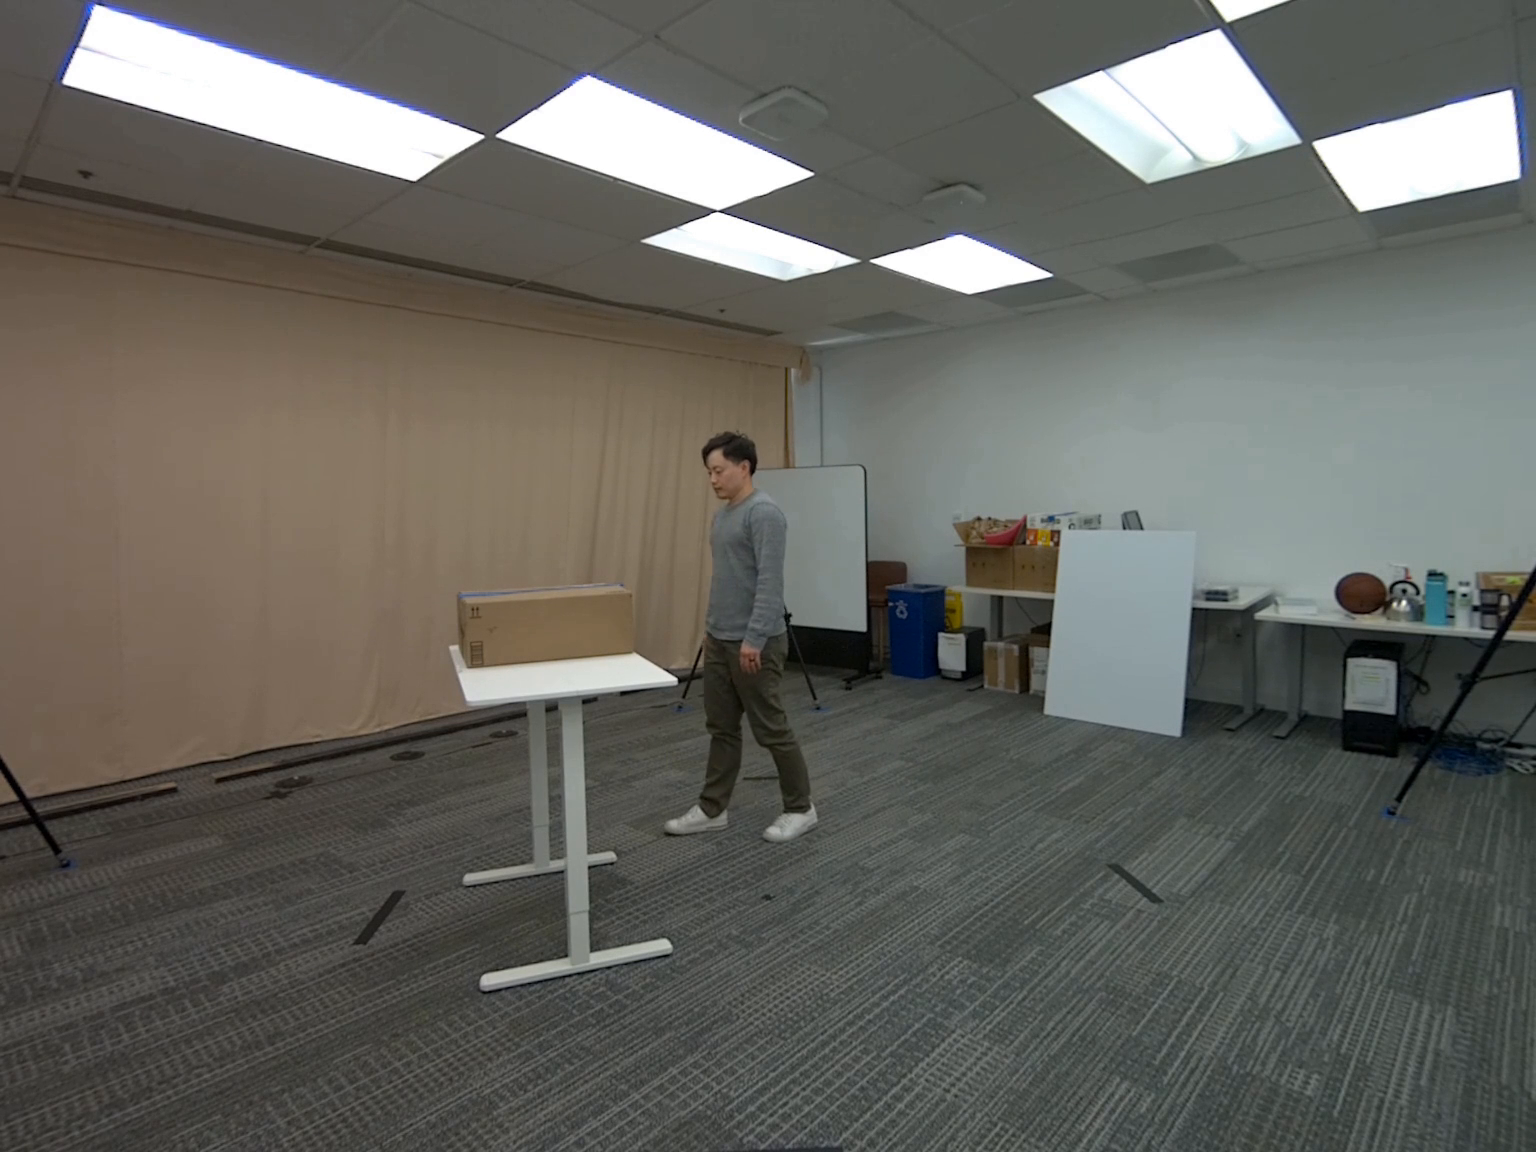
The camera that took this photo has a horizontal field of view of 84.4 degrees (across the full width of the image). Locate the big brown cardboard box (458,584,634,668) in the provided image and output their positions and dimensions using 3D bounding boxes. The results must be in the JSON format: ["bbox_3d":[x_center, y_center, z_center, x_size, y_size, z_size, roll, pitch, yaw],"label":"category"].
[{"bbox_3d":[-0.807,0.164,3.026,0.576,0.232,0.428,-4,5,-23],"label":"big brown cardboard box"}]
